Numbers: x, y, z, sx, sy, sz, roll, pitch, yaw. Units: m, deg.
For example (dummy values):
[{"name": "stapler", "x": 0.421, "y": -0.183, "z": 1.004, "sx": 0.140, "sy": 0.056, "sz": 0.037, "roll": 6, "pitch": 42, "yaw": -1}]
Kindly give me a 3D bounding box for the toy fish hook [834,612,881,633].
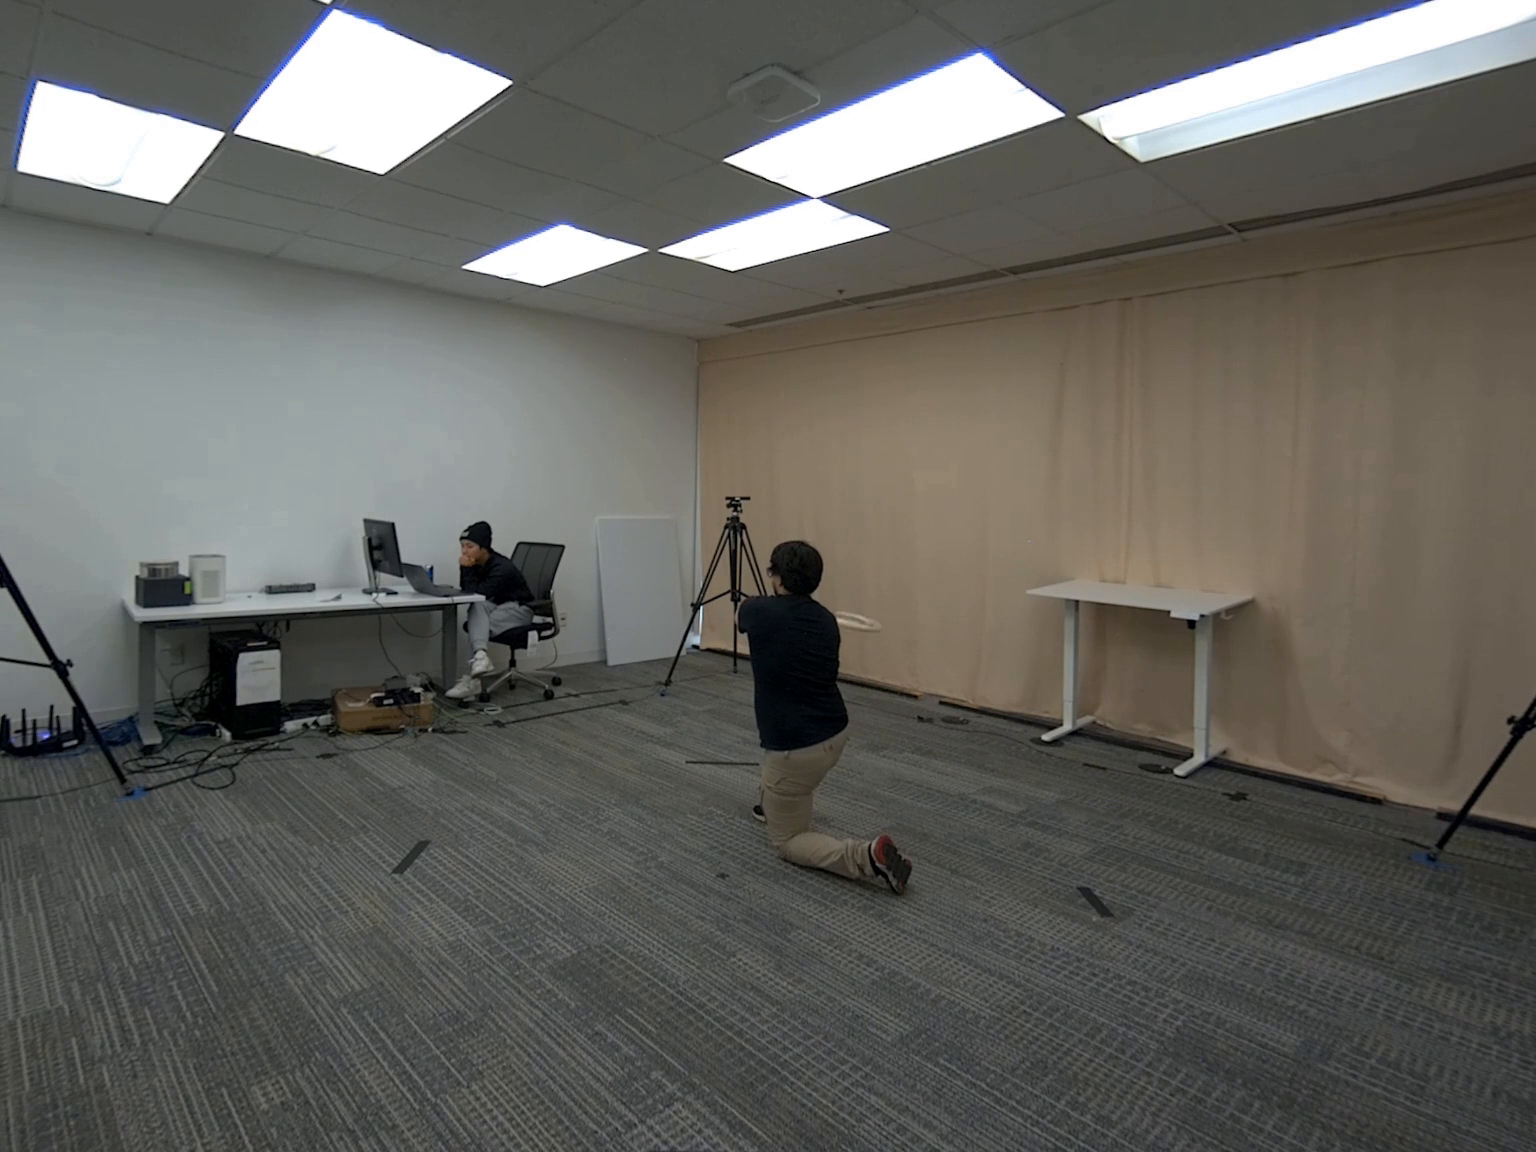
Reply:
[{"name": "toy fish hook", "x": 0.253, "y": 0.196, "z": 3.890, "sx": 0.505, "sy": 0.048, "sz": 0.226, "roll": 9, "pitch": 9, "yaw": -3}]
